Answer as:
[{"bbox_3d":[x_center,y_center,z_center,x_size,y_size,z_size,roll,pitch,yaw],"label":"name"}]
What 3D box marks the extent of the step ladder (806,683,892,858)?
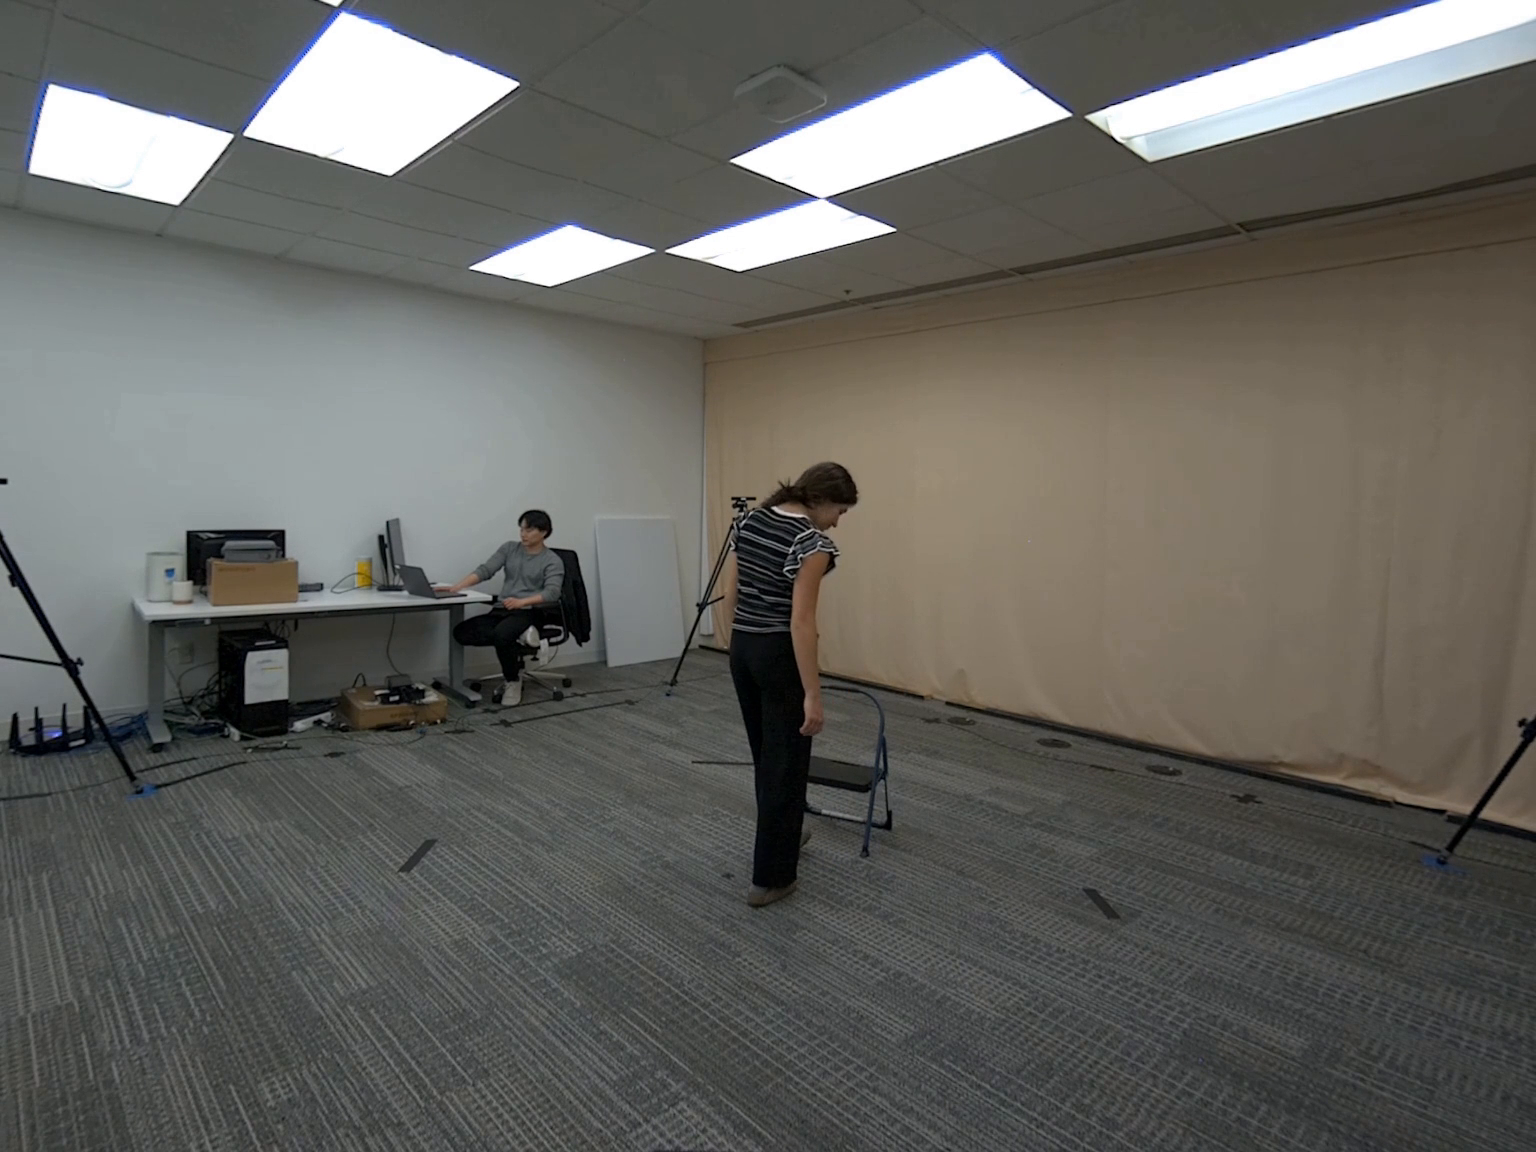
[{"bbox_3d":[0.277,0.779,3.536,0.439,0.605,0.343,3,3,28],"label":"step ladder"}]
